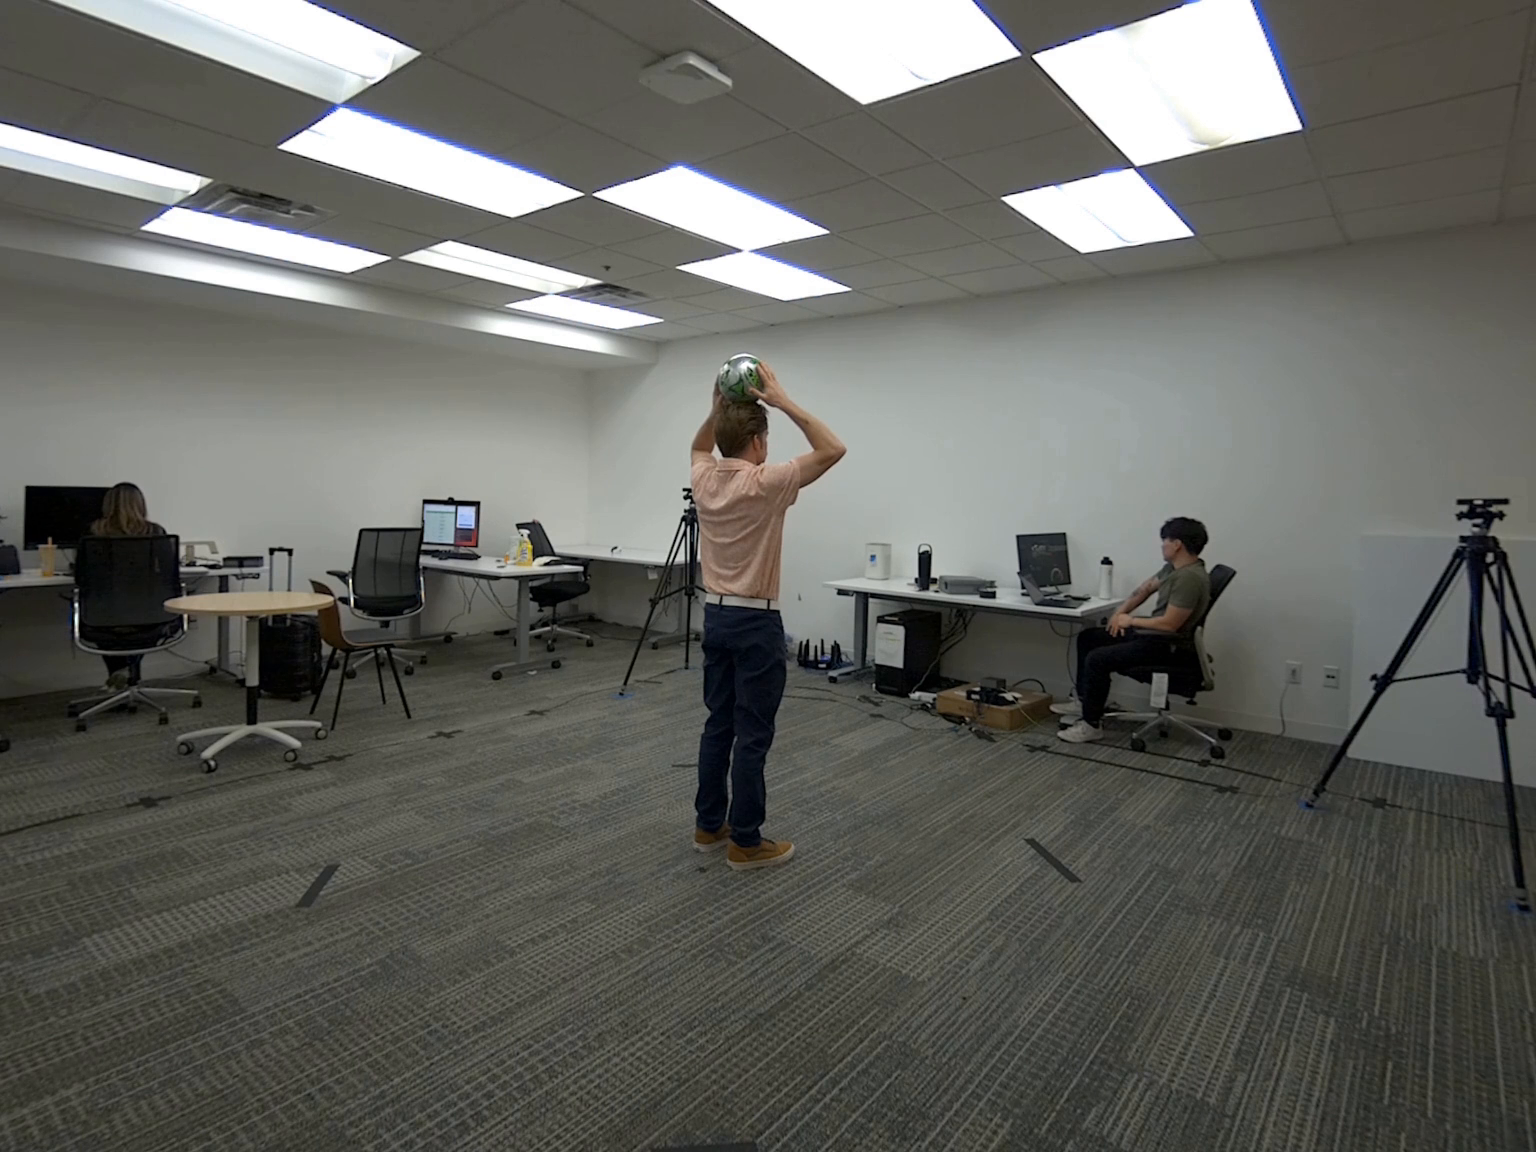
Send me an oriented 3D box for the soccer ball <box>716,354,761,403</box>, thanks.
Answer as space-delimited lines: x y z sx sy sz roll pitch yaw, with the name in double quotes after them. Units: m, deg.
-0.108 -0.725 3.163 0.187 0.187 0.188 1 4 -2 "soccer ball"
